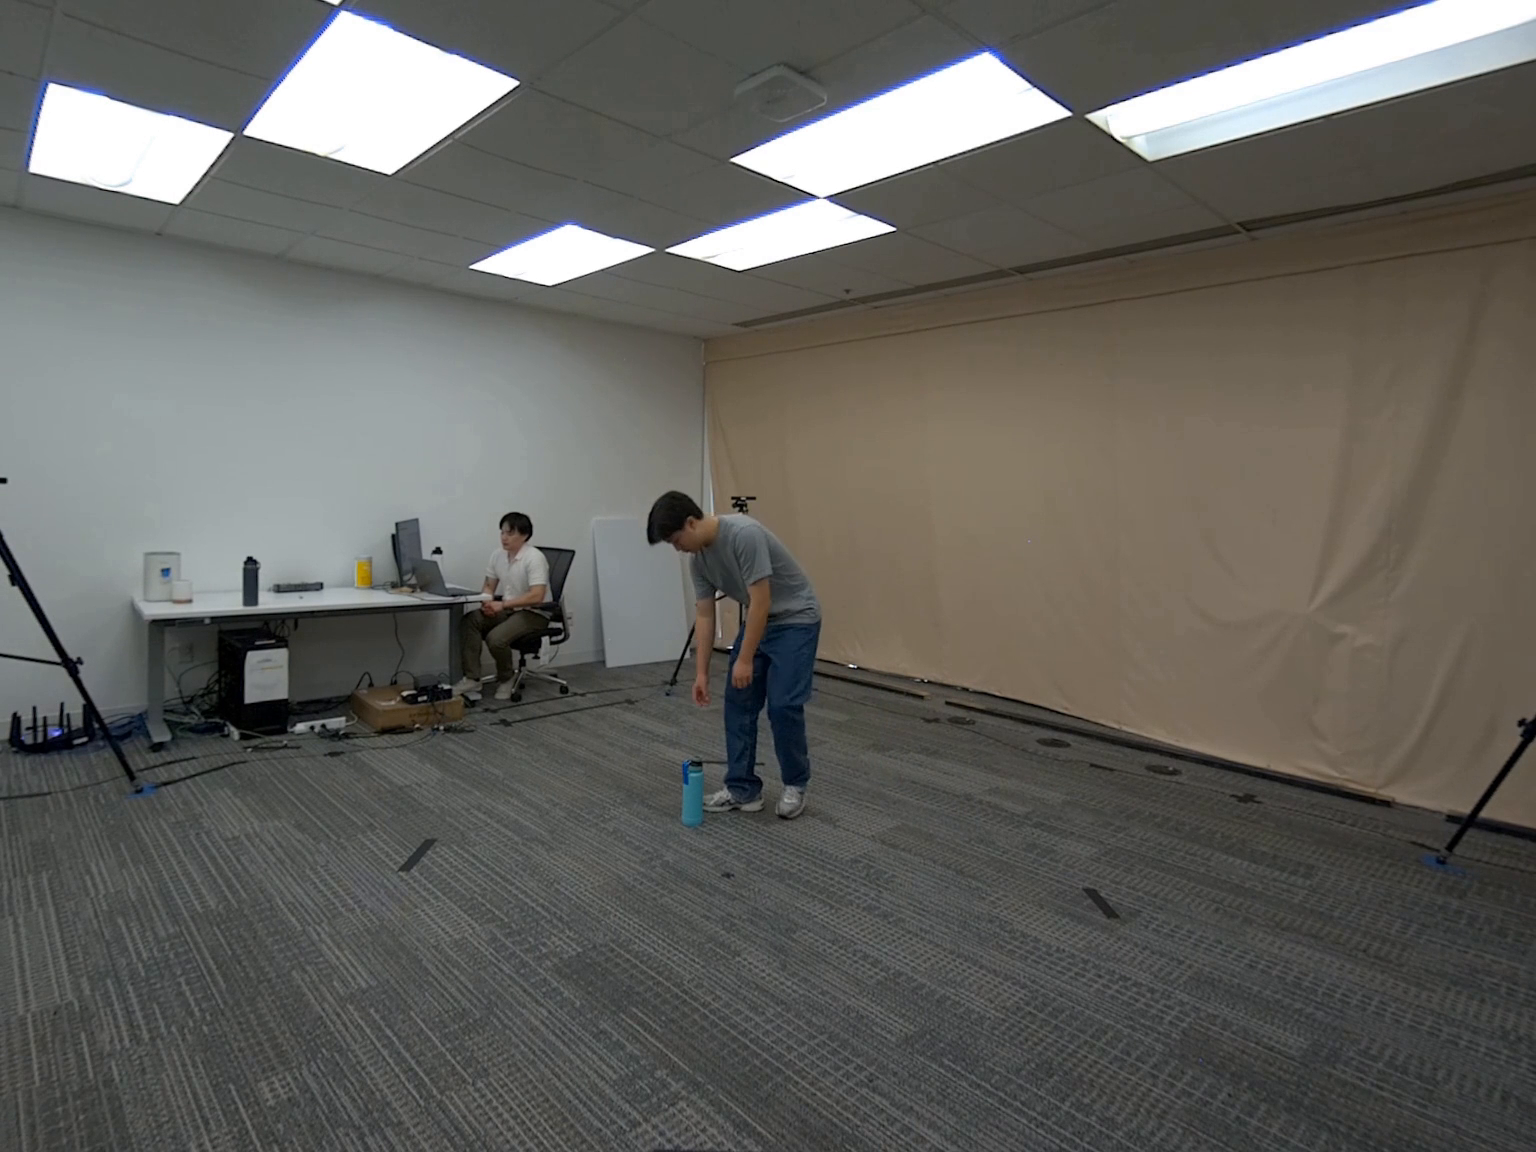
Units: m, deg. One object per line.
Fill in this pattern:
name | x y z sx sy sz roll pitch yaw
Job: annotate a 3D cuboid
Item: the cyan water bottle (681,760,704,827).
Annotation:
cyan water bottle | -0.331 0.917 3.603 0.092 0.283 0.092 1 3 -1
